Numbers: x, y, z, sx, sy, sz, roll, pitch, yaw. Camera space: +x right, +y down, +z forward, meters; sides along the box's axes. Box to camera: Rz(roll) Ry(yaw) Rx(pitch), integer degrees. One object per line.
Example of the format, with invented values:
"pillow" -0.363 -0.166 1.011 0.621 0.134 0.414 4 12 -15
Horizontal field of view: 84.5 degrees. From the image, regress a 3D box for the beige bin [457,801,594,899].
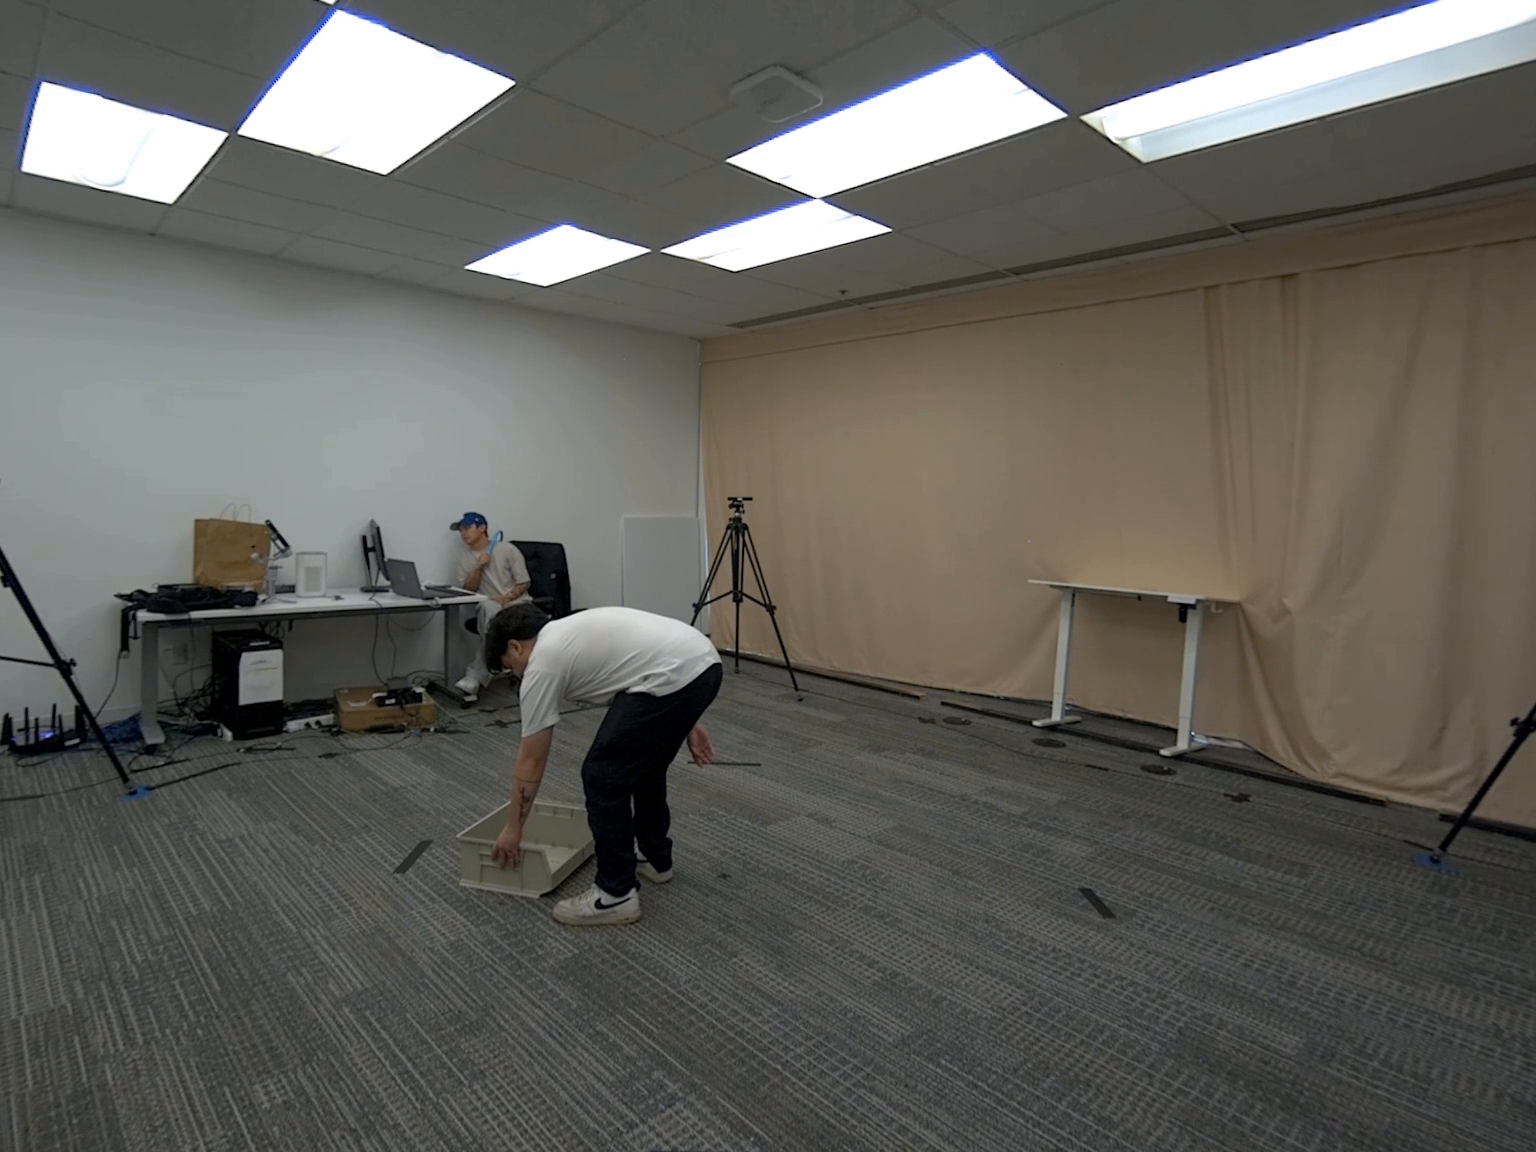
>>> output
"beige bin" -0.880 1.001 3.126 0.382 0.188 0.418 2 5 15
